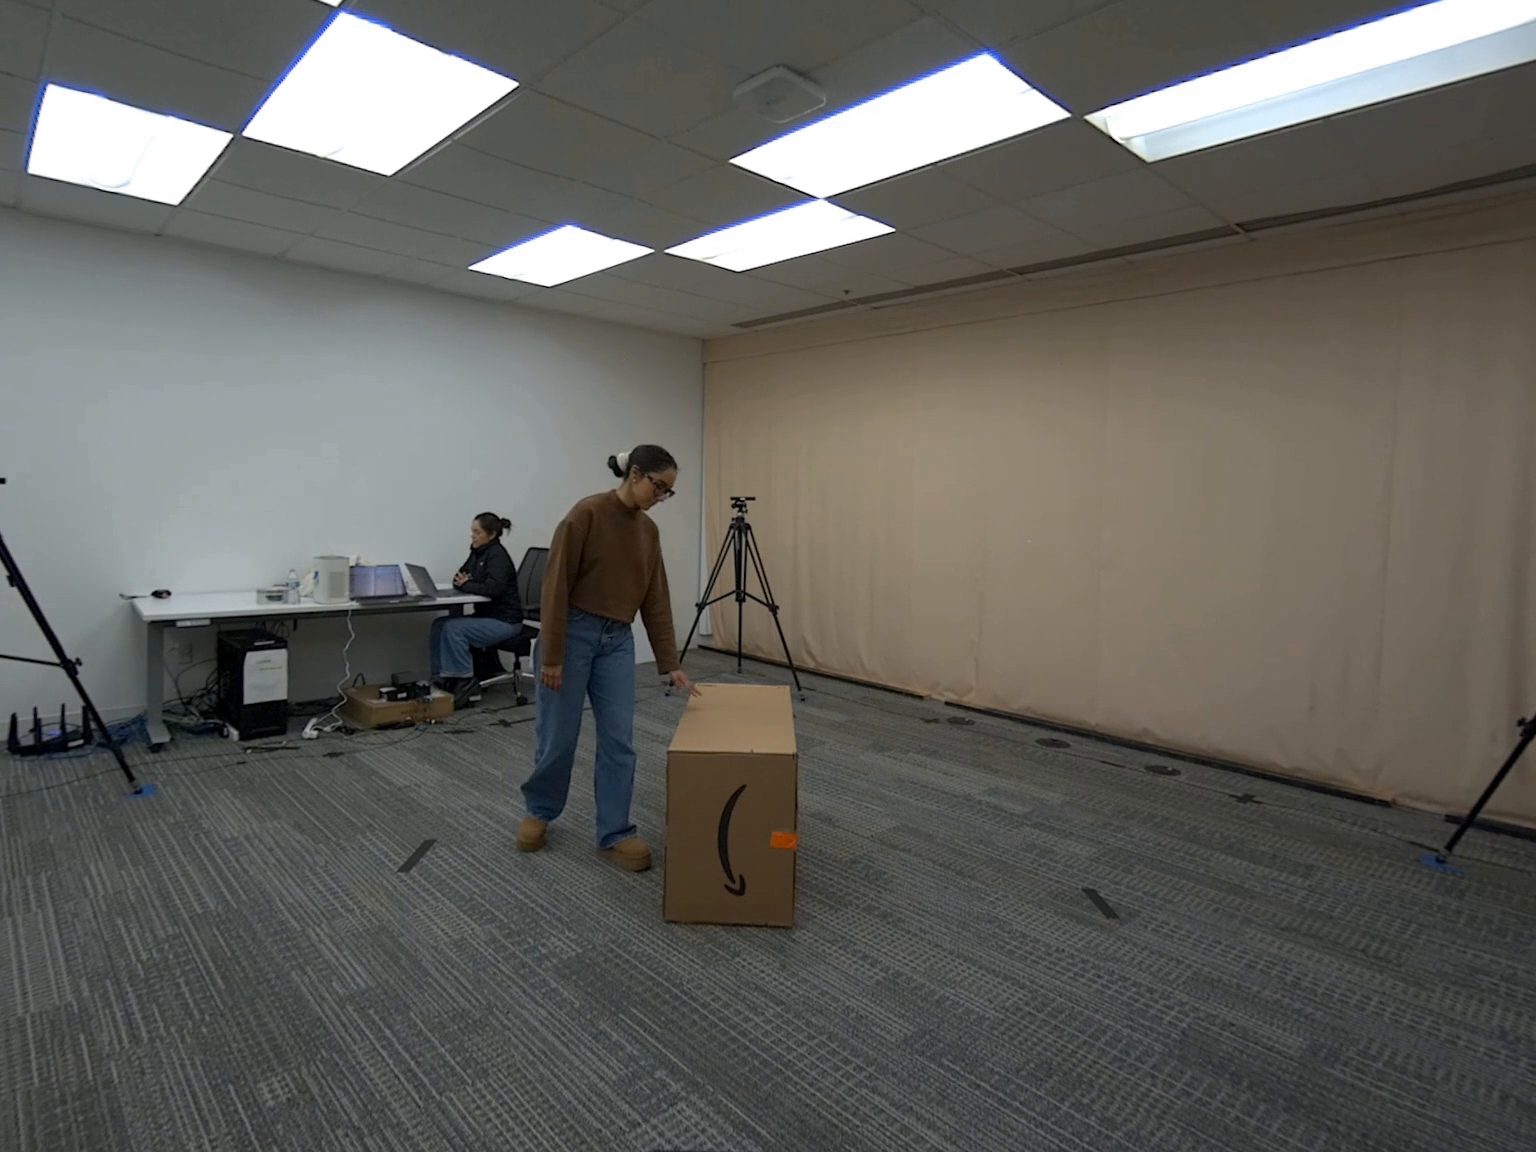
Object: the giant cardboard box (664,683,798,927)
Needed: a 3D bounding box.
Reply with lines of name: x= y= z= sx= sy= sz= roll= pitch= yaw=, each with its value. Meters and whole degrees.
giant cardboard box: x=-0.120 y=0.810 z=3.232 sx=0.447 sy=0.582 sz=1.028 roll=0 pitch=5 yaw=1
